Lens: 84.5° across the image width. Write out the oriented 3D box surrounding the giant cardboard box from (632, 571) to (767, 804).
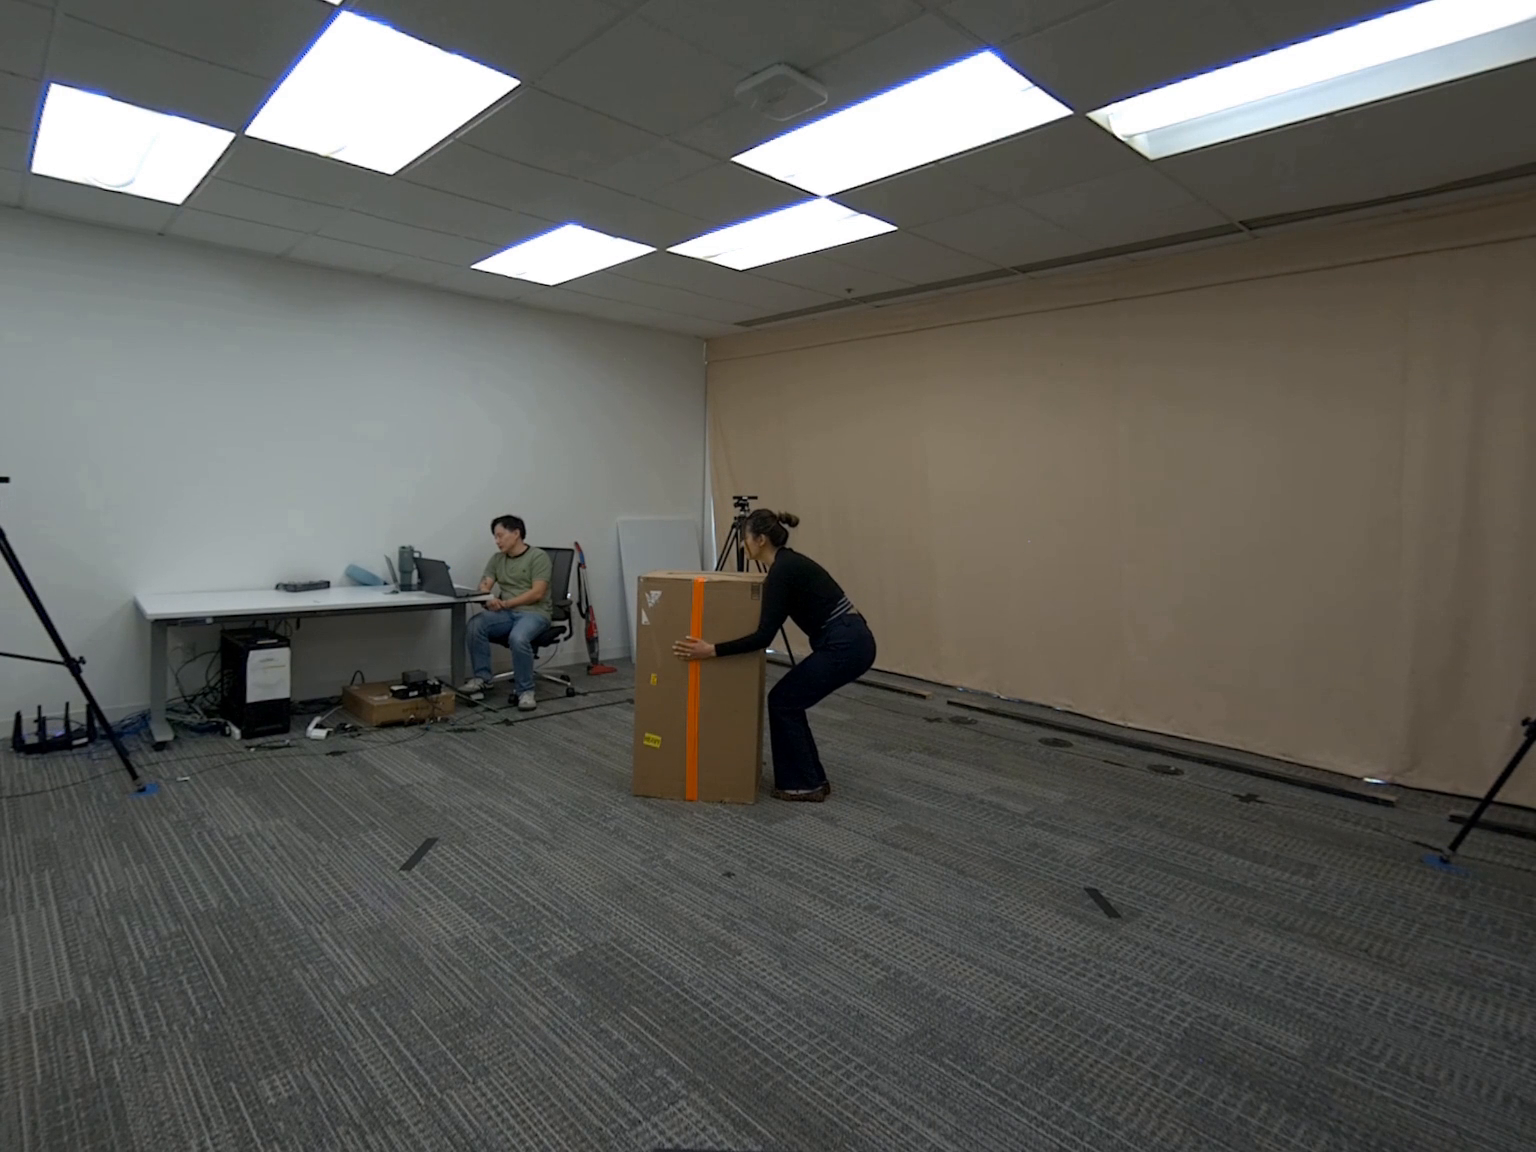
[{"bbox_3d":[-0.323,0.506,4.046,0.581,1.023,0.424,2,3,7],"label":"giant cardboard box"}]
